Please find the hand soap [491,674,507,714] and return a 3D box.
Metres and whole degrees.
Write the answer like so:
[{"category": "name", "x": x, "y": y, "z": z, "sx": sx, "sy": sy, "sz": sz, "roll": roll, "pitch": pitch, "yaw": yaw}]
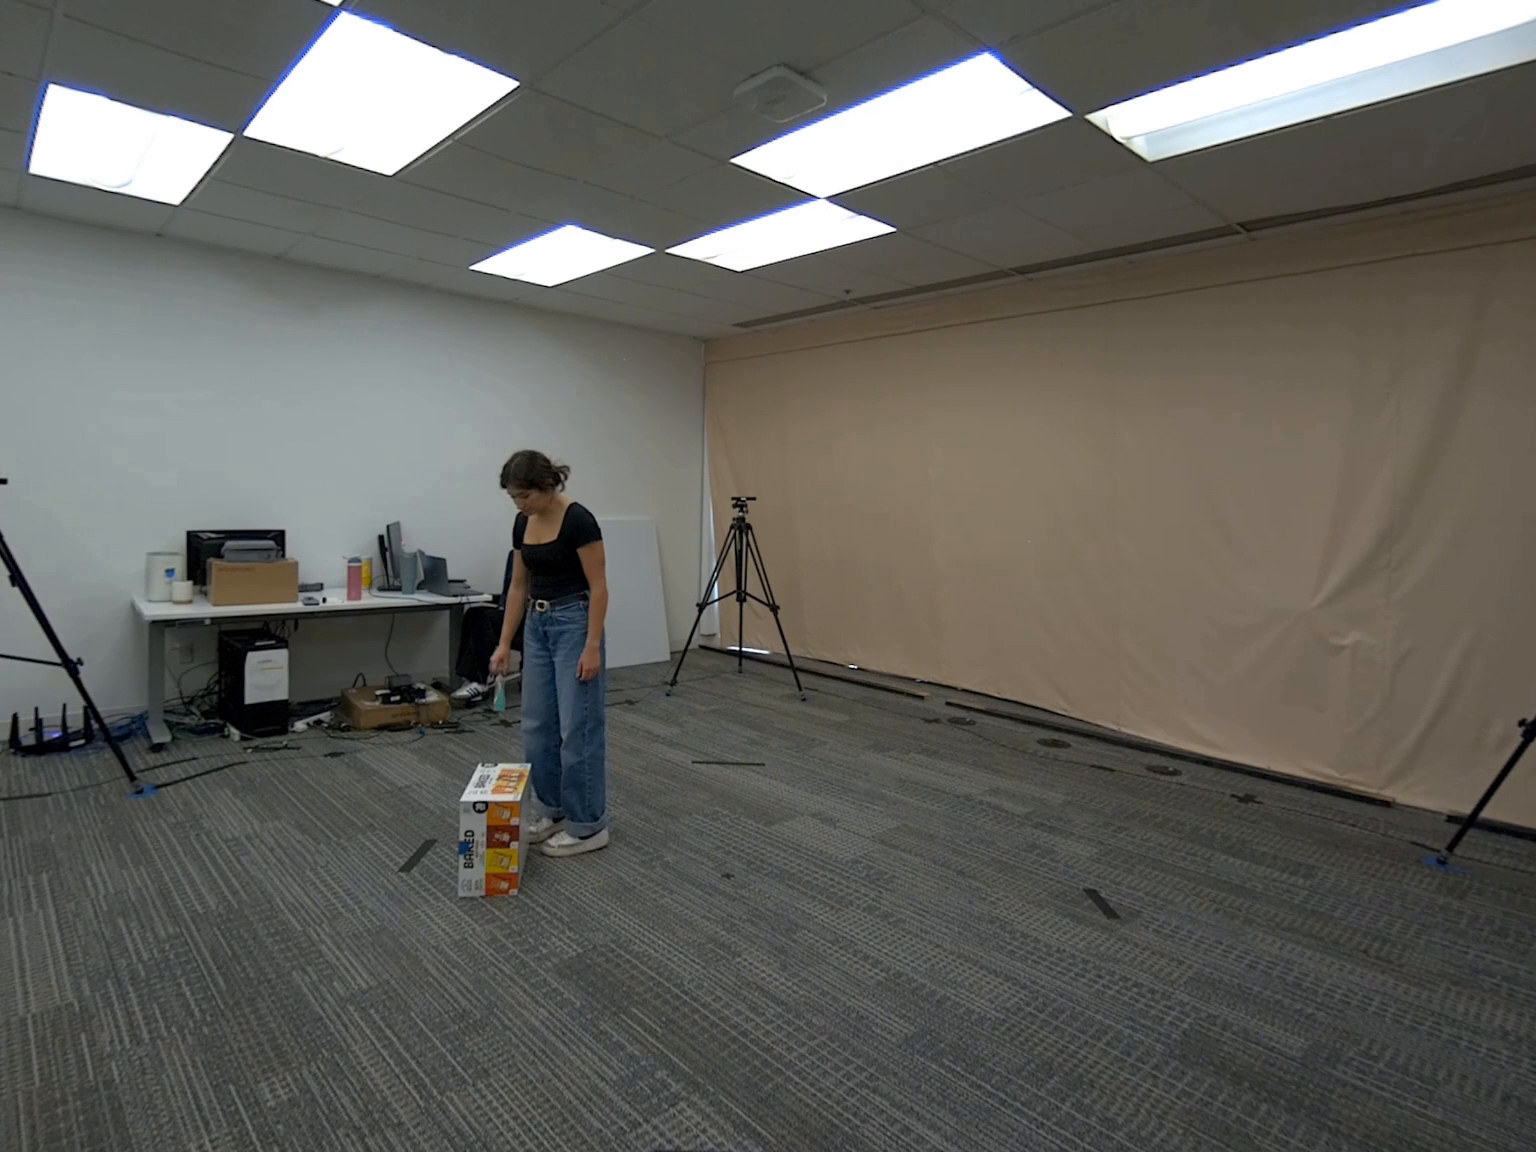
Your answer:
[{"category": "hand soap", "x": -1.065, "y": 0.450, "z": 3.333, "sx": 0.042, "sy": 0.169, "sz": 0.086, "roll": 6, "pitch": -13, "yaw": -29}]
